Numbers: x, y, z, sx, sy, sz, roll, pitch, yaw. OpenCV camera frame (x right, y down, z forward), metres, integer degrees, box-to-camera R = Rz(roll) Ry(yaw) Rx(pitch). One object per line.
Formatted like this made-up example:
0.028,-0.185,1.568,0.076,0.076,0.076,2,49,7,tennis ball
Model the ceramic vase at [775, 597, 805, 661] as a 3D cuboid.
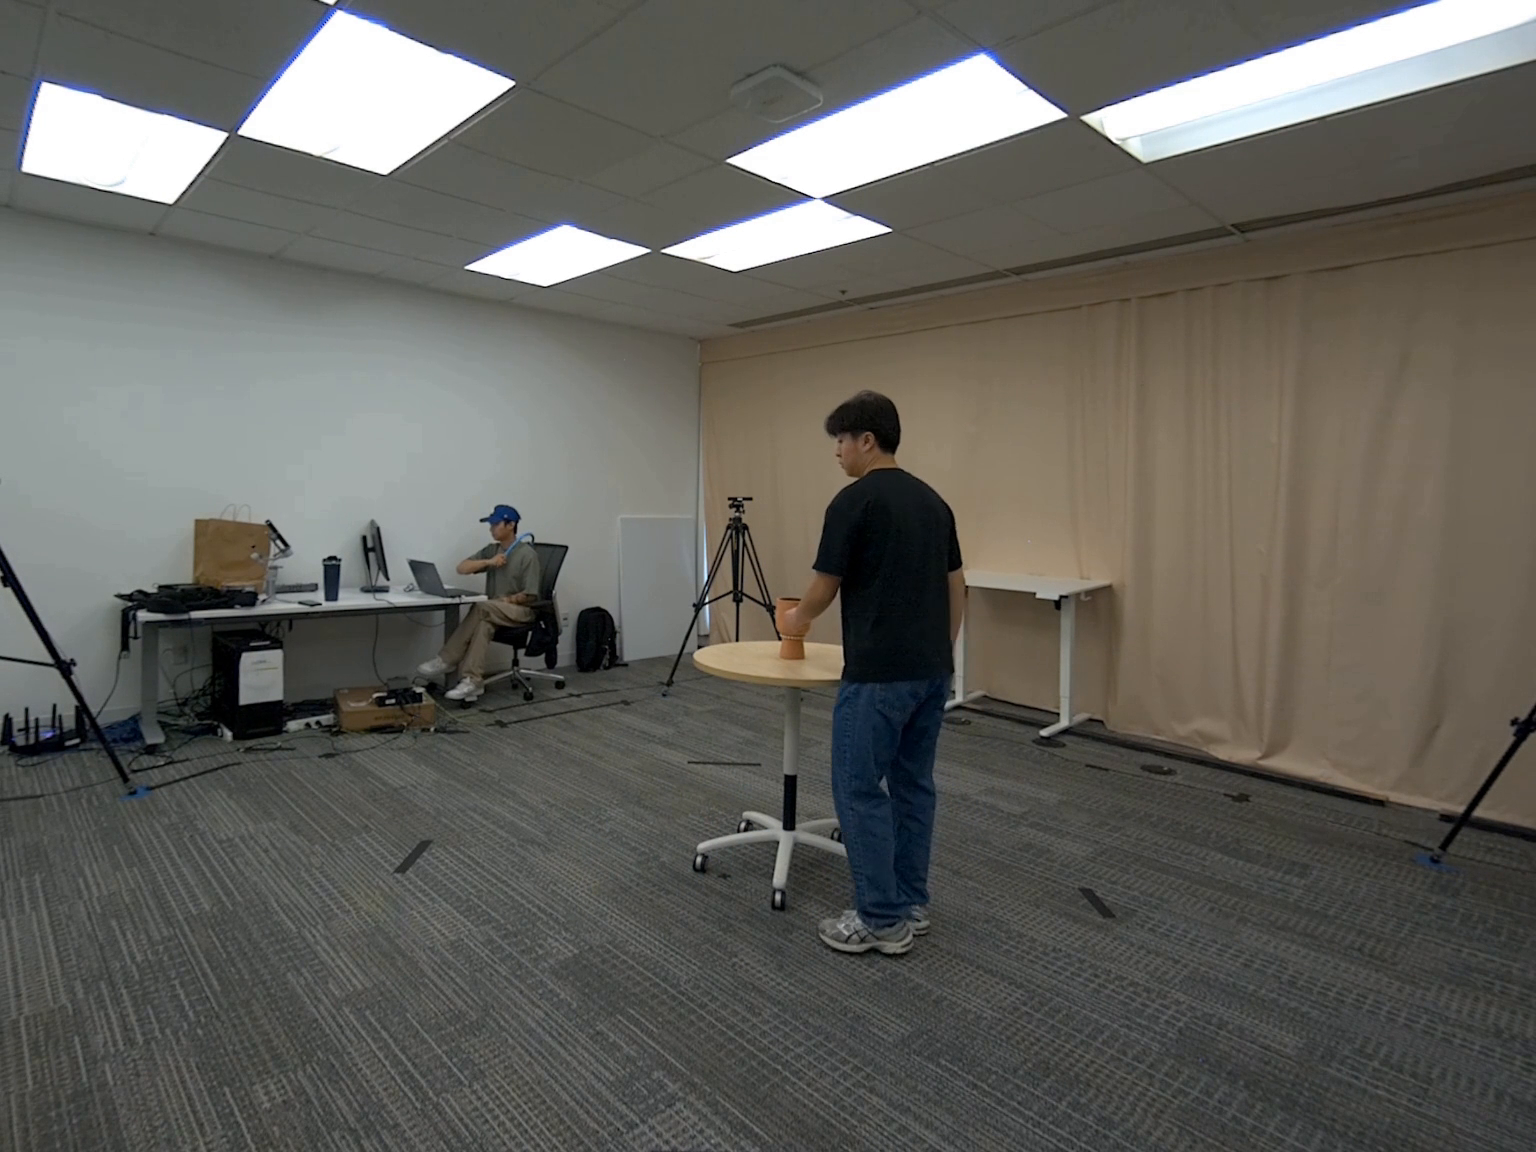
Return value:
0.083,0.197,3.182,0.138,0.219,0.155,4,4,36,ceramic vase
